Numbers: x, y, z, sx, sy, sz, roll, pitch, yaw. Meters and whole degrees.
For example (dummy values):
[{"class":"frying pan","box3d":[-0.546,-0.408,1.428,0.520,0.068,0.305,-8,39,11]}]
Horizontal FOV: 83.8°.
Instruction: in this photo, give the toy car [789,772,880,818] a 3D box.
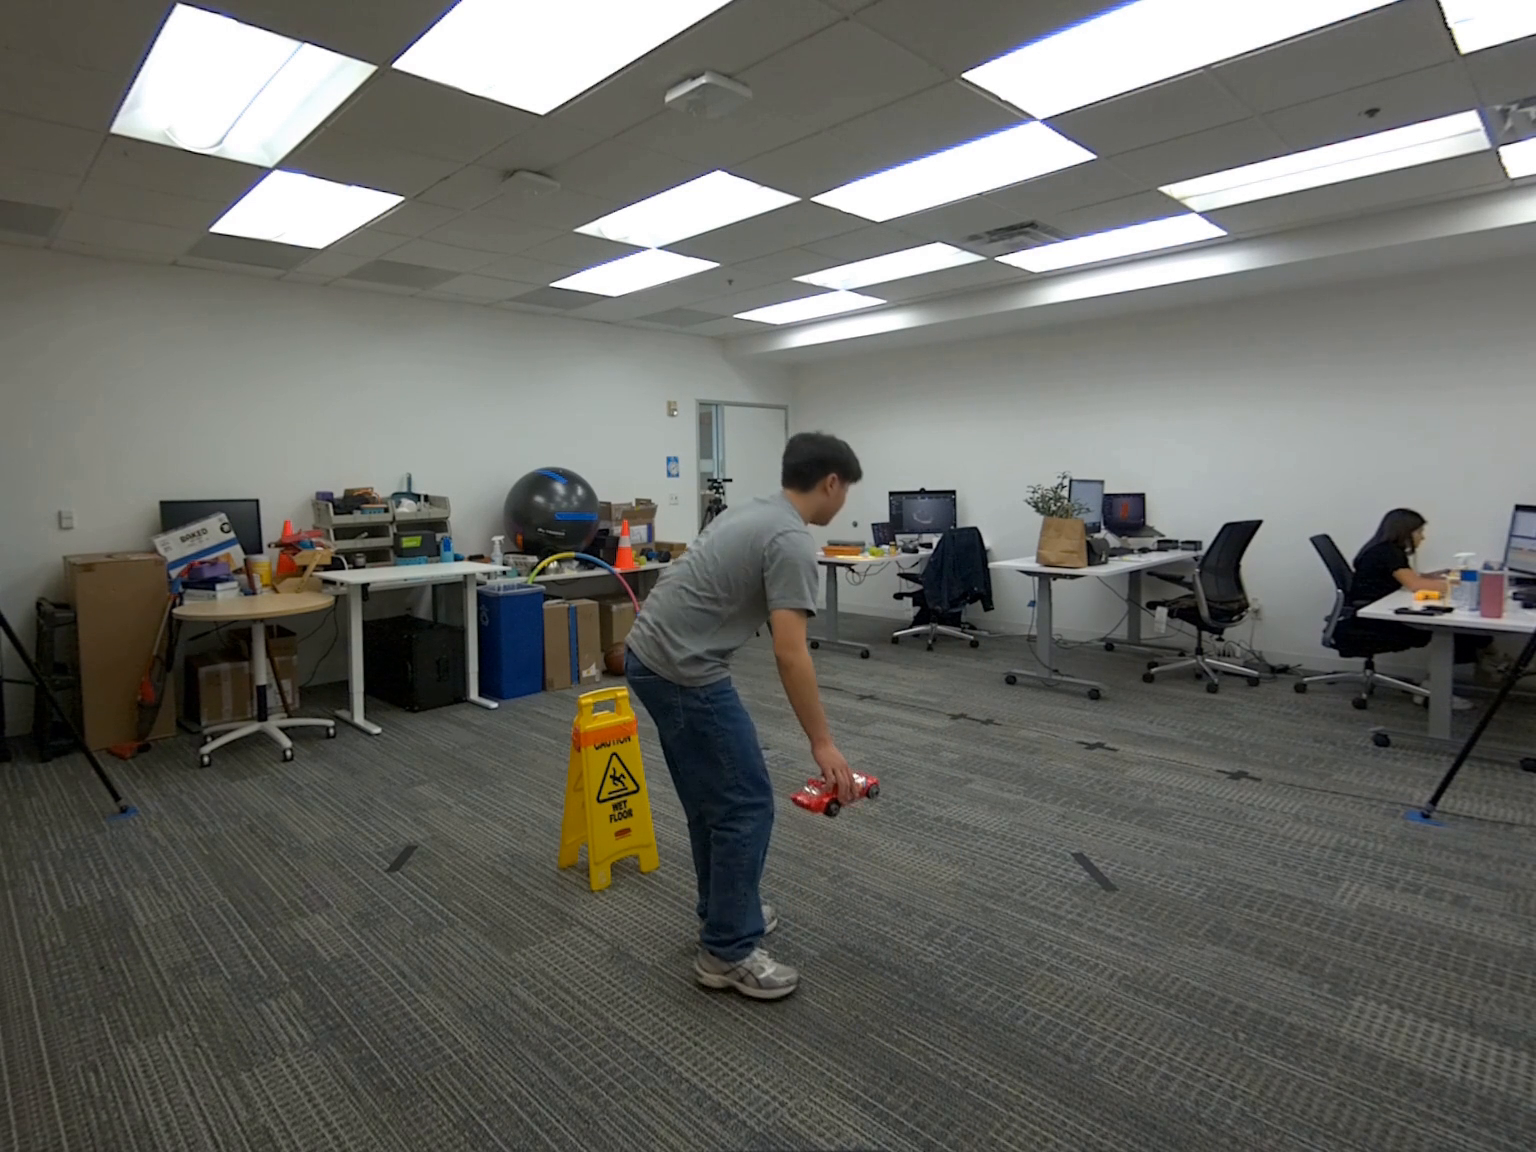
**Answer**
[{"class":"toy car","box3d":[0.170,0.584,2.261,0.248,0.083,0.134,1,3,-31]}]
